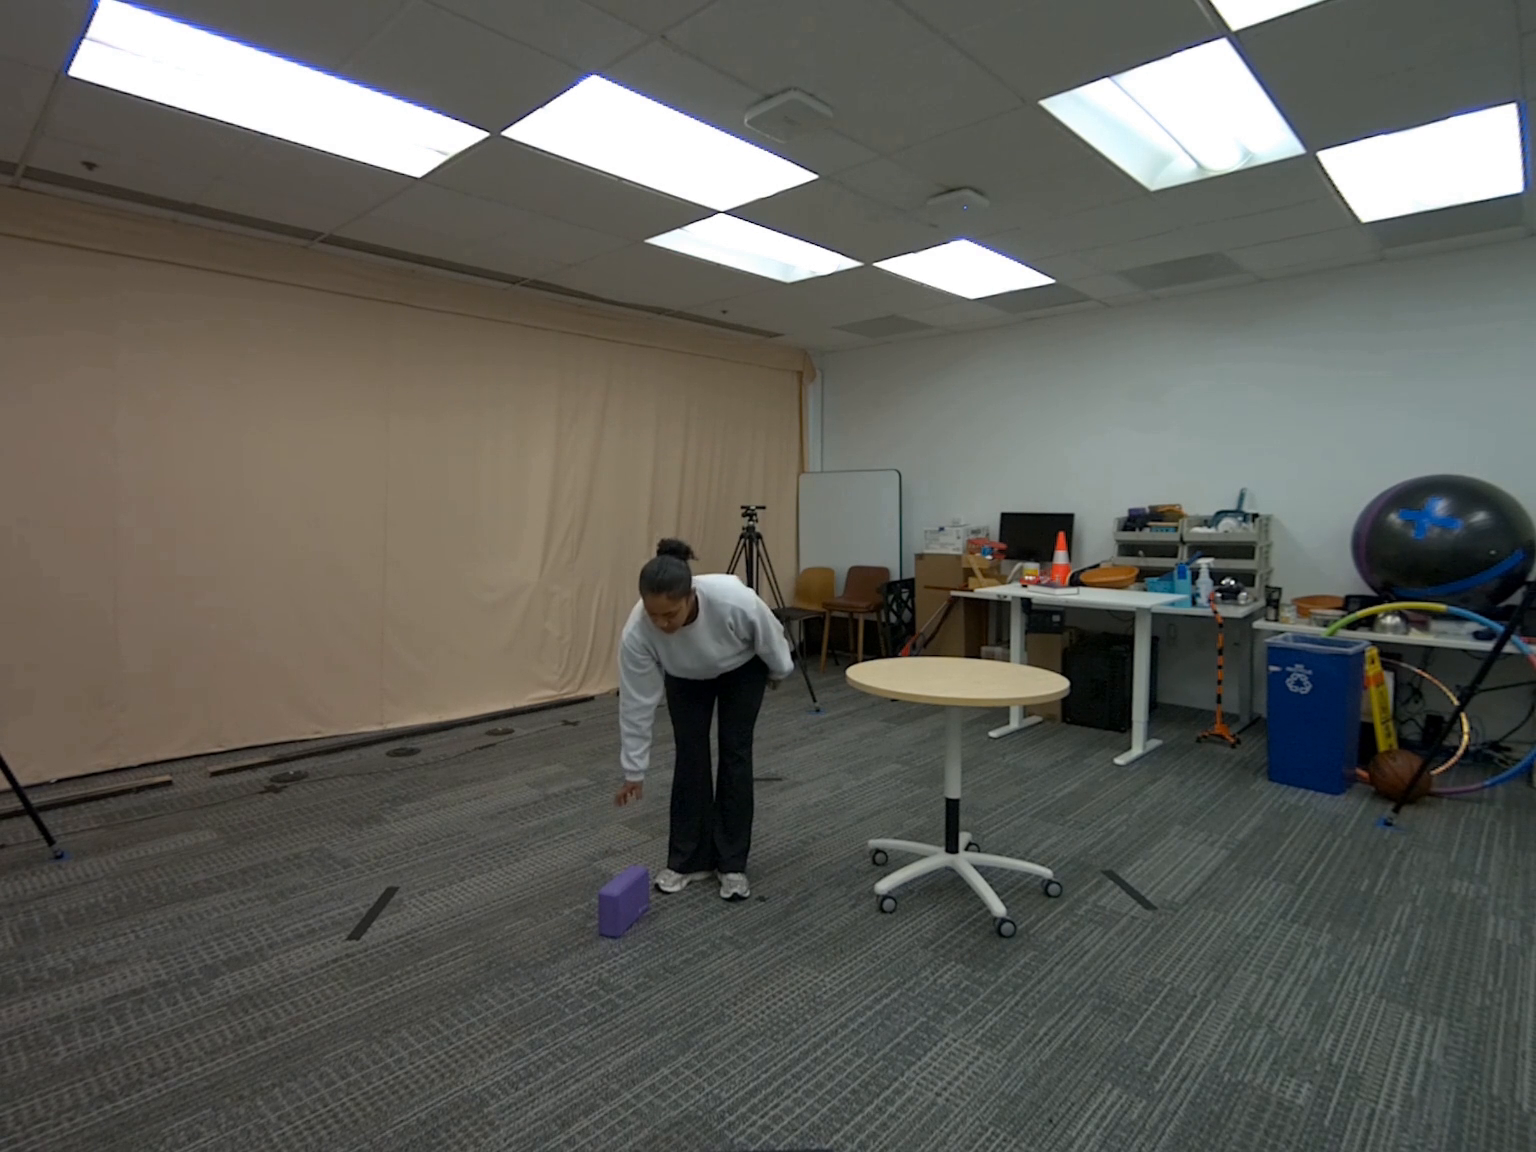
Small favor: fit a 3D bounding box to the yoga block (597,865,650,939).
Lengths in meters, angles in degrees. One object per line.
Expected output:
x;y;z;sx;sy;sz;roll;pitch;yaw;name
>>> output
-0.478;1.076;2.819;0.078;0.148;0.225;3;6;19;yoga block
